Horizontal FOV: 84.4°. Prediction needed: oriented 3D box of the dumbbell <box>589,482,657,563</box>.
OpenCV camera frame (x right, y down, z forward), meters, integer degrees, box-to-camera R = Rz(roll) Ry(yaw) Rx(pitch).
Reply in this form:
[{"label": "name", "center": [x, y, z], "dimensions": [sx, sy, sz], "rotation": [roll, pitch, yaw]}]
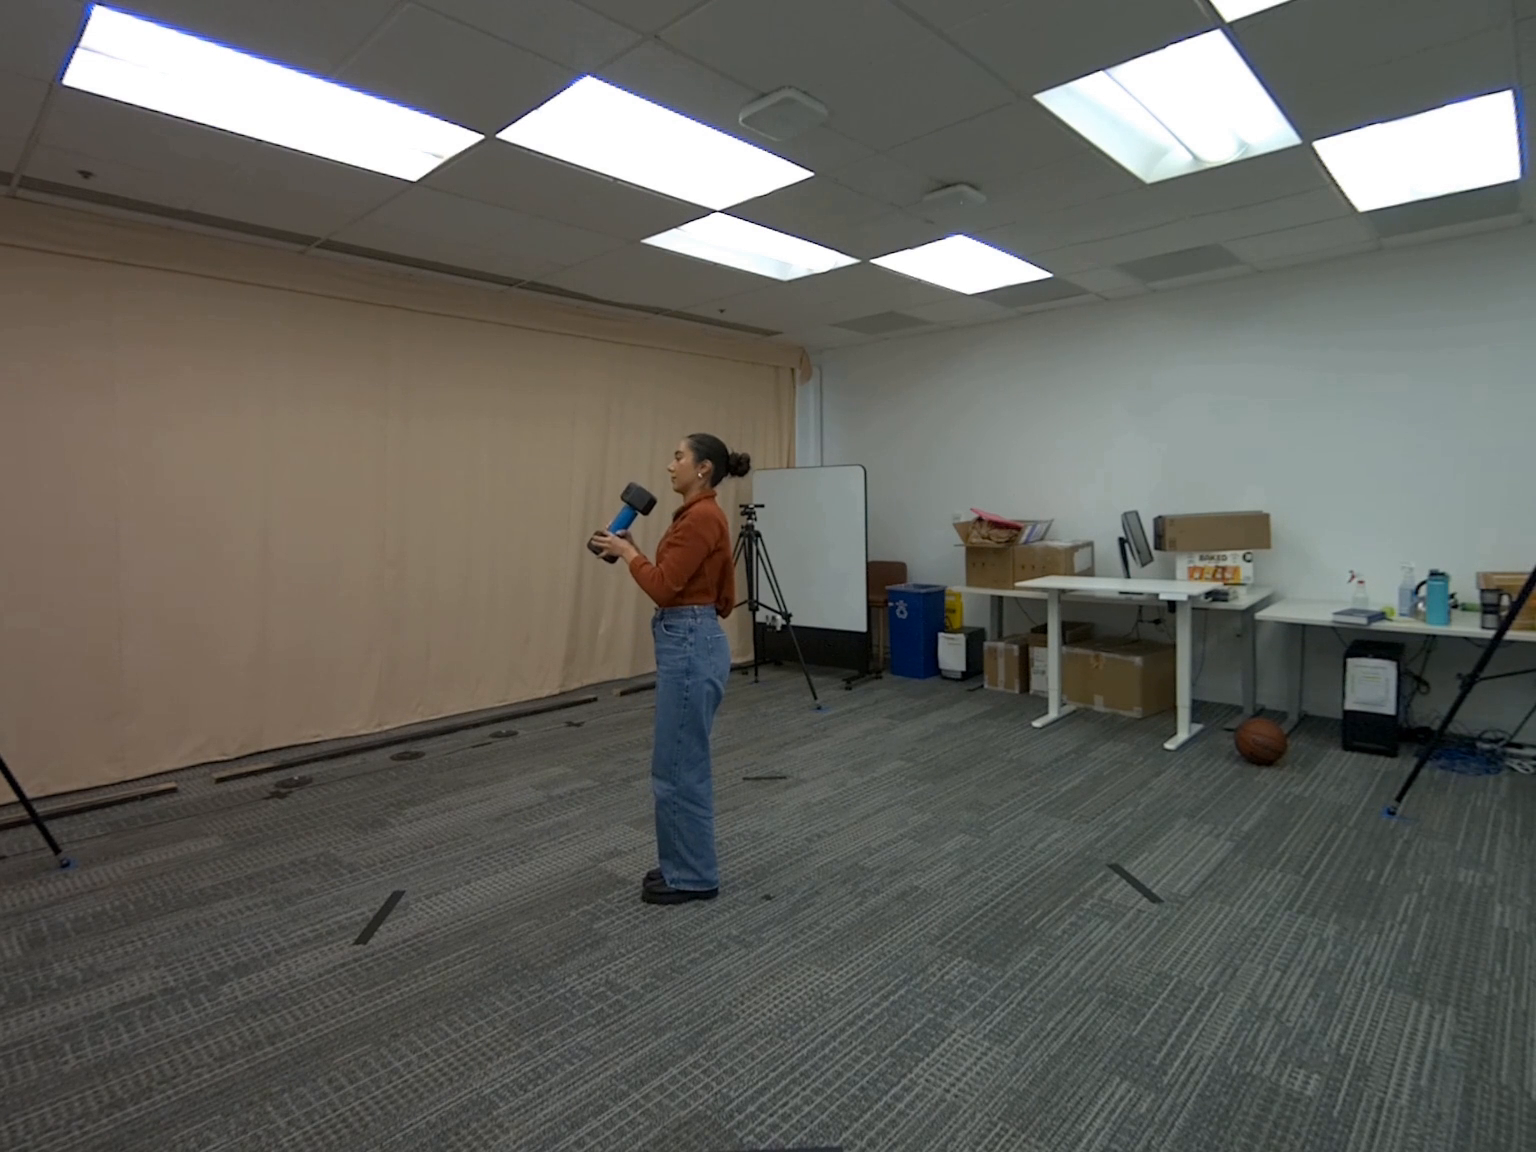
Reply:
[{"label": "dumbbell", "center": [-0.524, -0.191, 3.036], "dimensions": [0.122, 0.293, 0.109], "rotation": [36, -3, -5]}]
